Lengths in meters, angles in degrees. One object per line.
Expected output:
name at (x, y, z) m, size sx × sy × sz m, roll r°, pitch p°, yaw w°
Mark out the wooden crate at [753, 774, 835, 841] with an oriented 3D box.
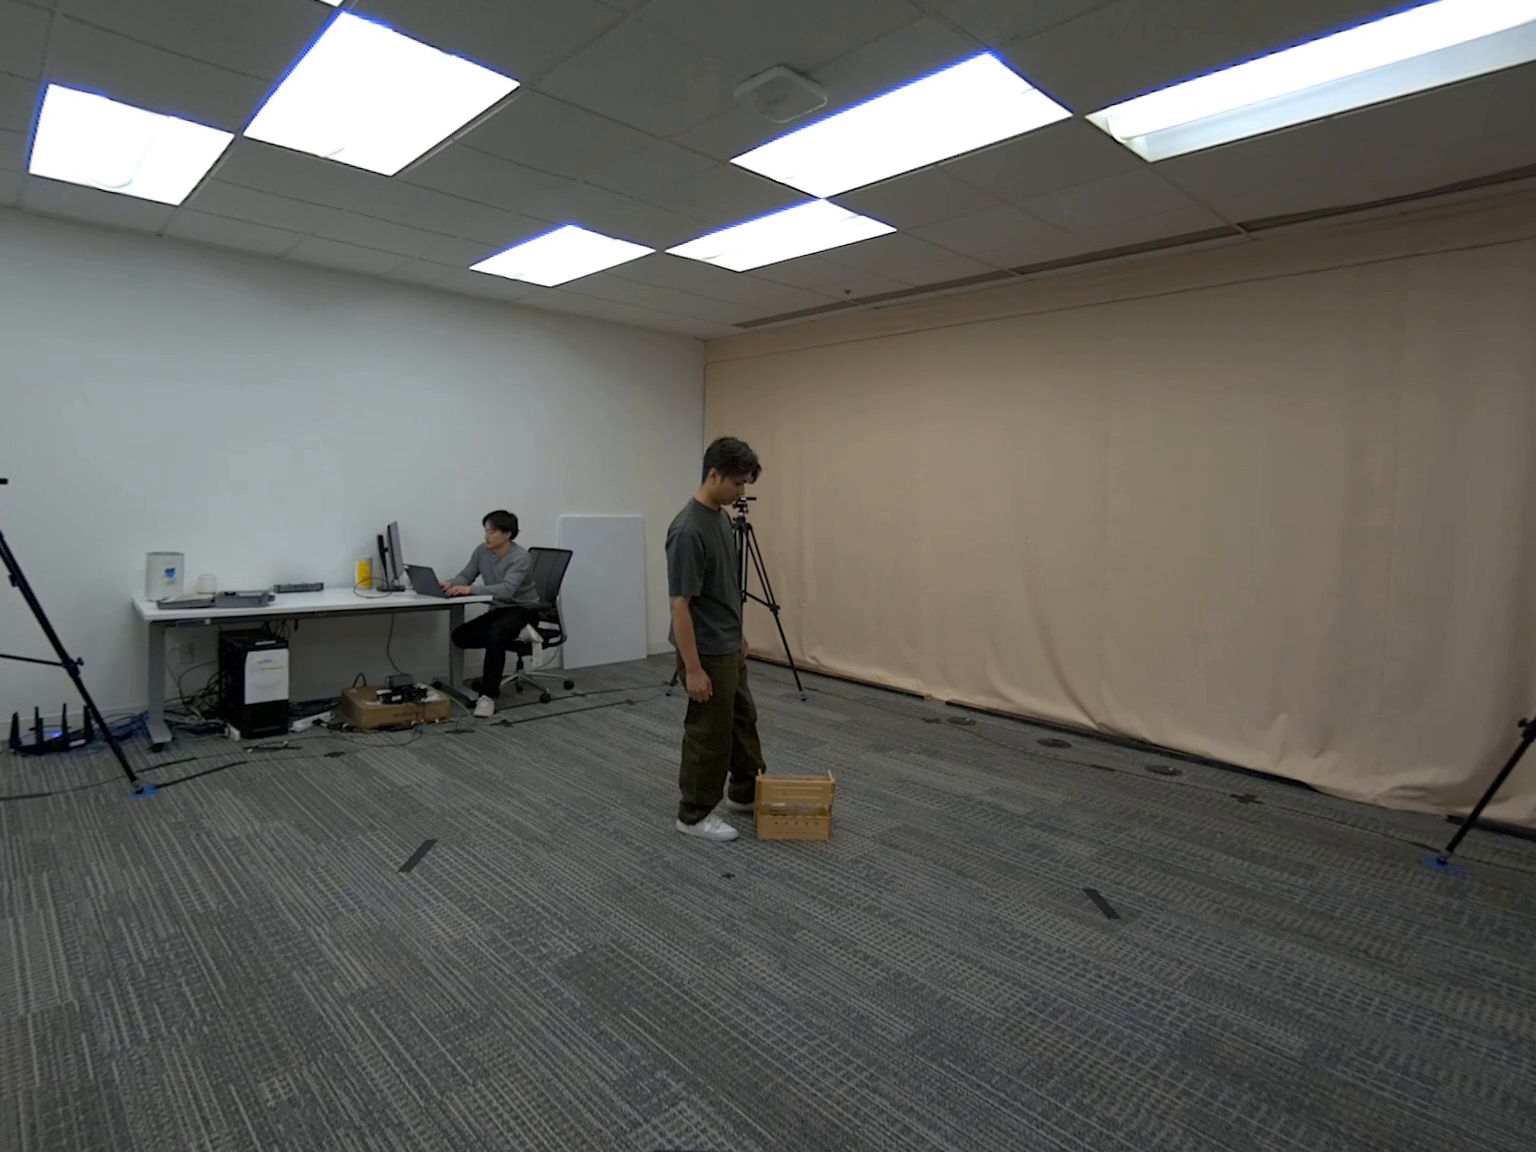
wooden crate at (0.100, 0.943, 3.559) m, size 0.324 × 0.273 × 0.303 m, roll 2°, pitch 3°, yaw -3°
